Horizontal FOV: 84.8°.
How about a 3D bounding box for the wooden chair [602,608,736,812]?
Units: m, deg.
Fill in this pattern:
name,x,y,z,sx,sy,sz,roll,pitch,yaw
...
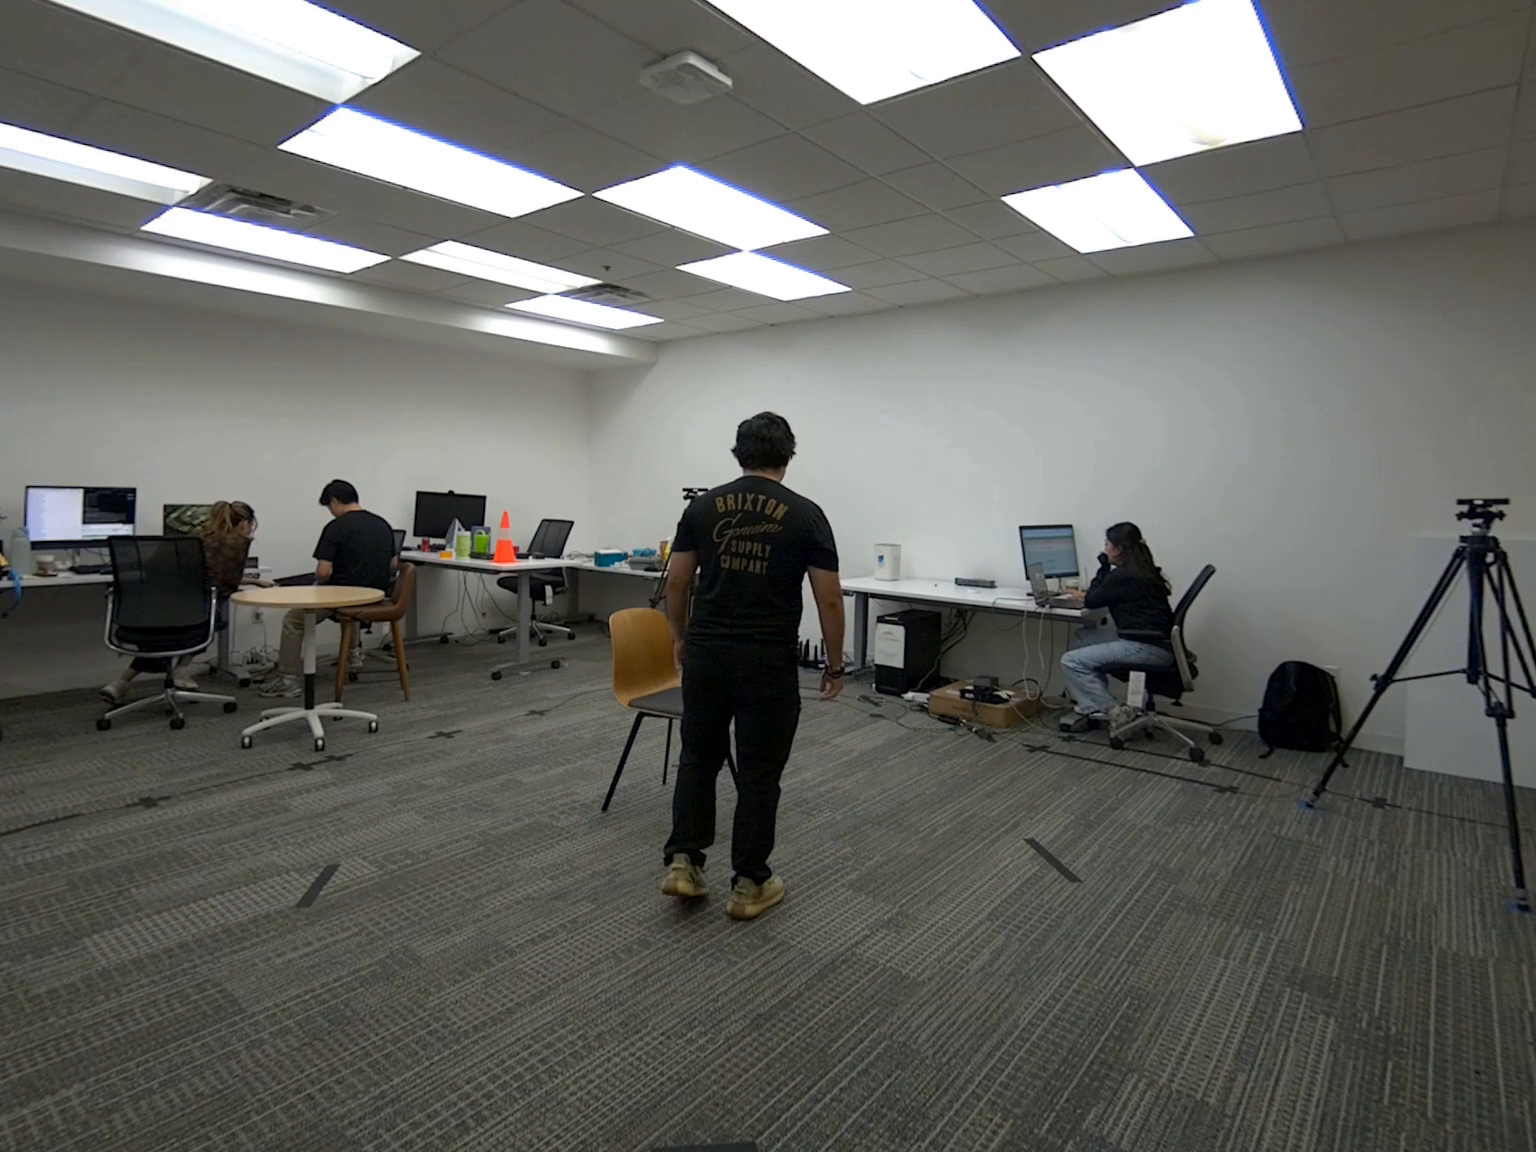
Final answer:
name,x,y,z,sx,sy,sz,roll,pitch,yaw
wooden chair,-0.405,0.581,3.683,0.538,0.877,0.465,-2,0,33
